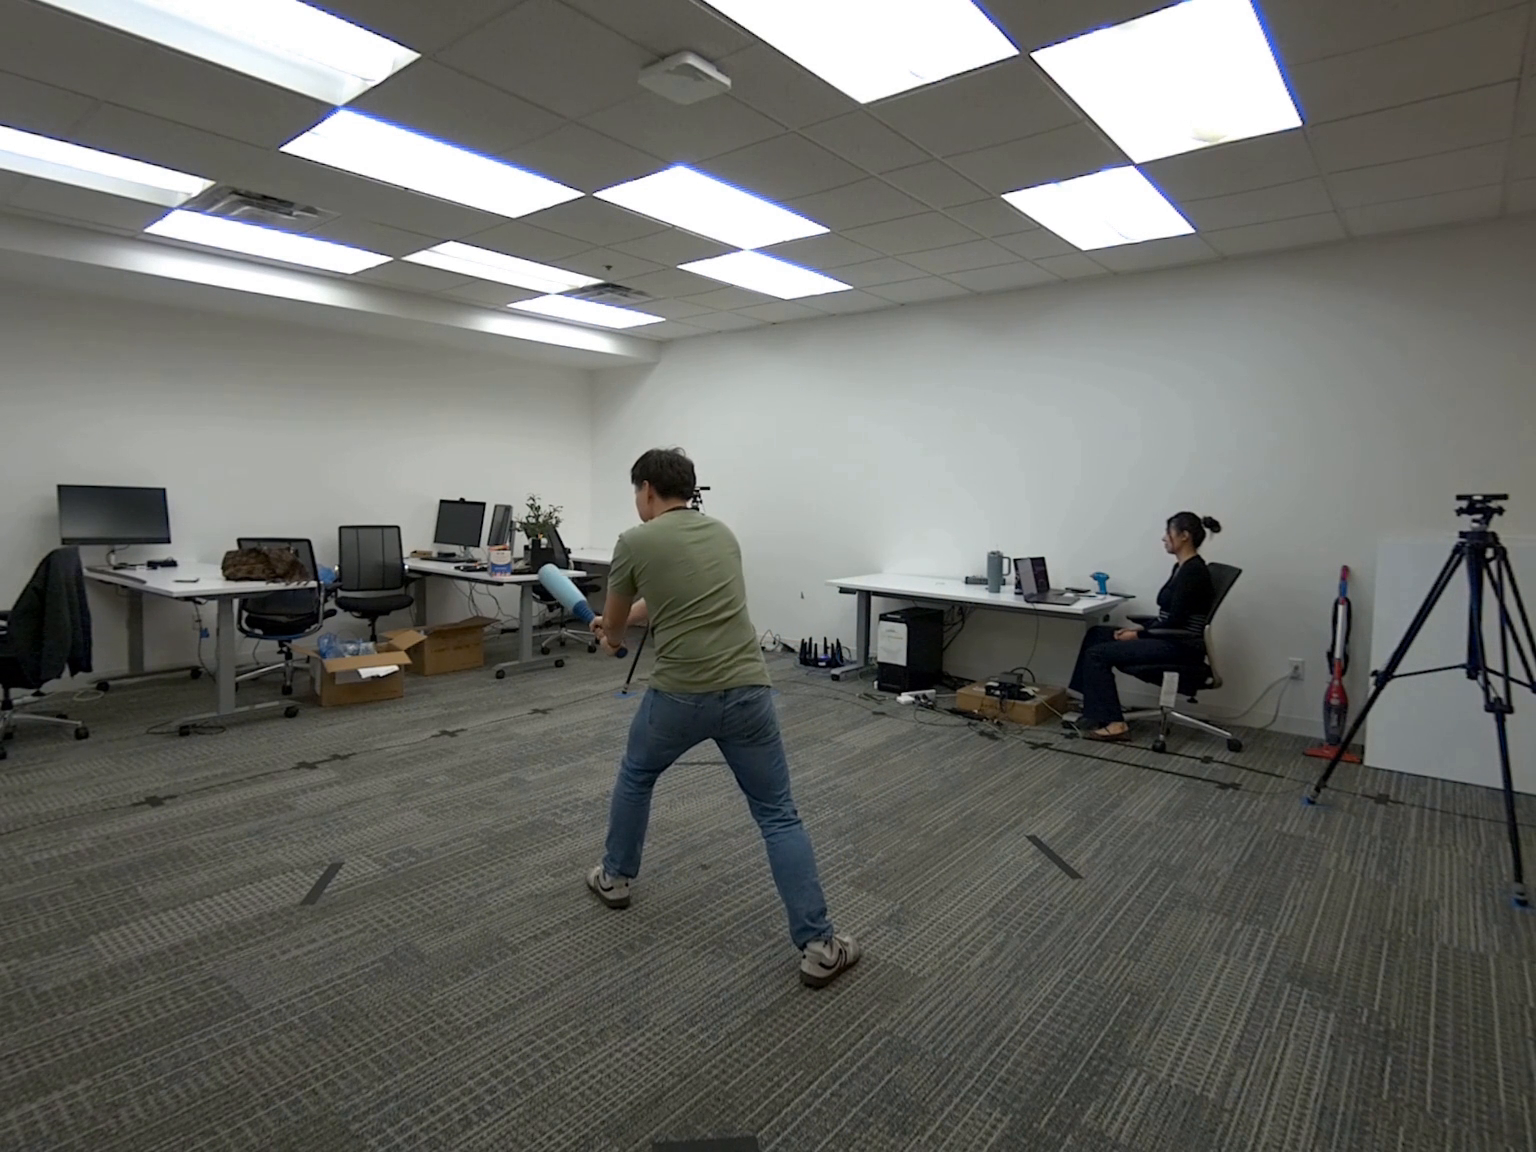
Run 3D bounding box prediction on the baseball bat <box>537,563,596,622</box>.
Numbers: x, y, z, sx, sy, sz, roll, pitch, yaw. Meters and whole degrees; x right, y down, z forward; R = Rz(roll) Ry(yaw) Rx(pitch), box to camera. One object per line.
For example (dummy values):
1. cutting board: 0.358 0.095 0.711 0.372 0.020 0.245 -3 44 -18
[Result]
1. baseball bat: -0.697 0.126 3.169 0.086 0.088 0.565 -3 35 -46
